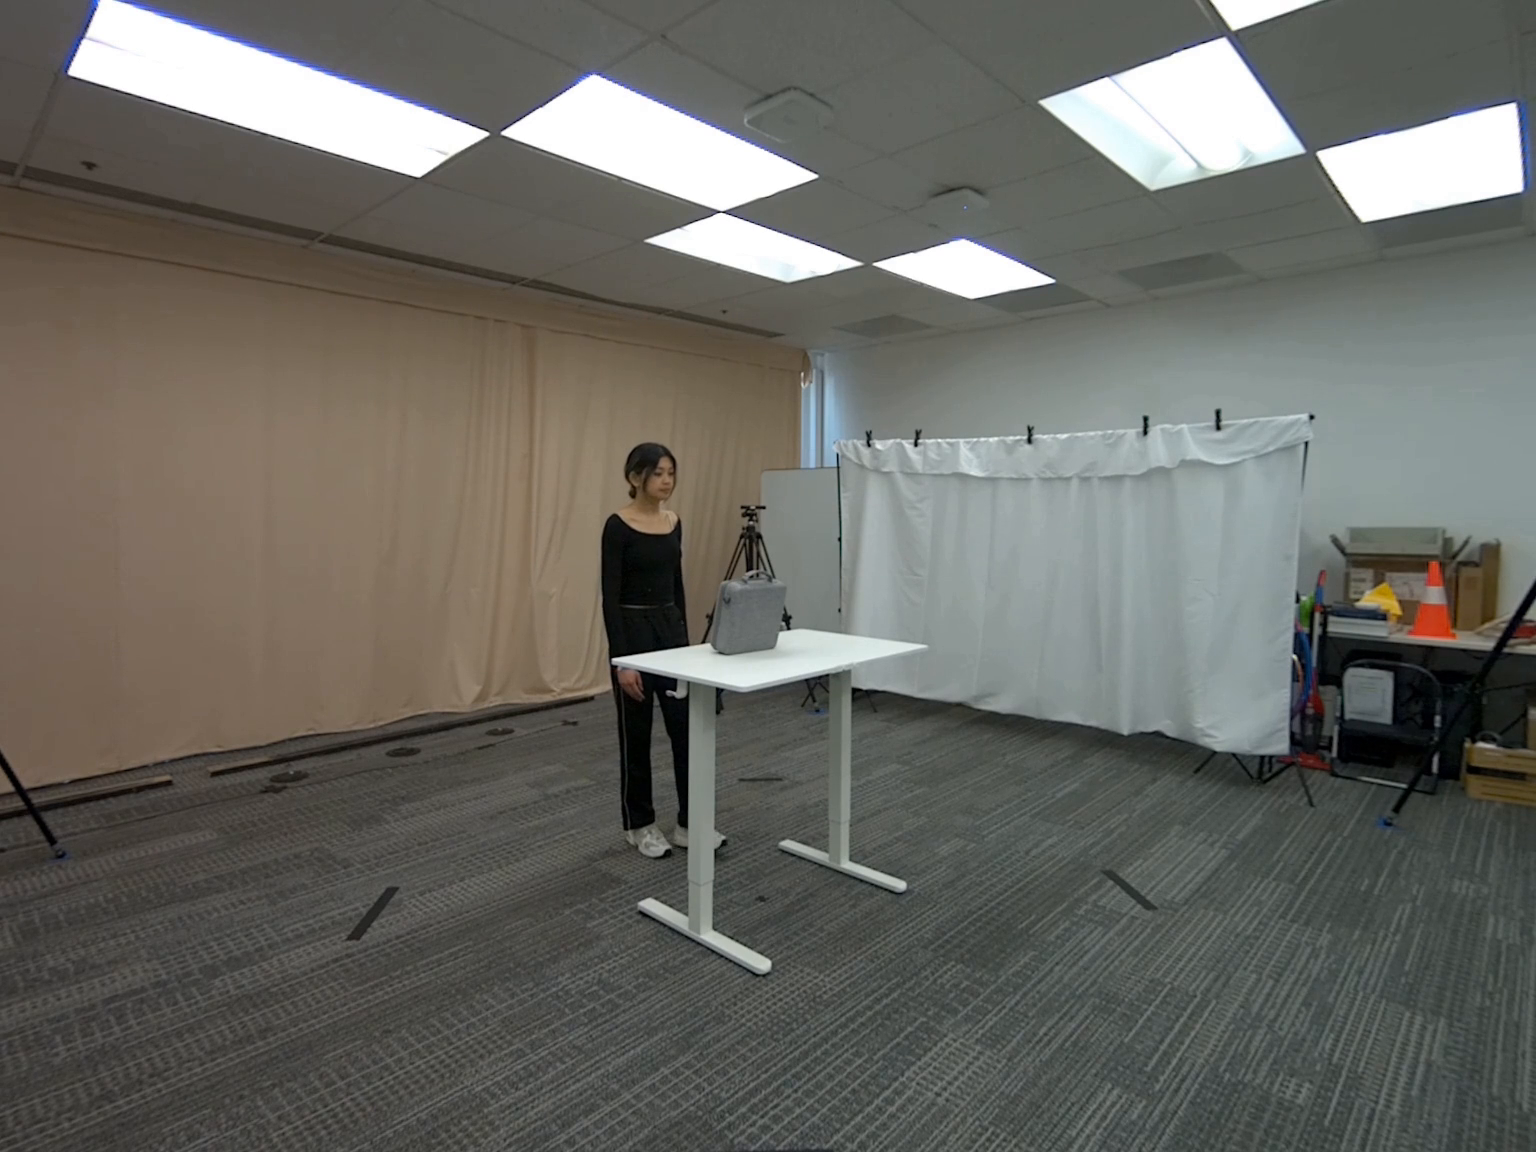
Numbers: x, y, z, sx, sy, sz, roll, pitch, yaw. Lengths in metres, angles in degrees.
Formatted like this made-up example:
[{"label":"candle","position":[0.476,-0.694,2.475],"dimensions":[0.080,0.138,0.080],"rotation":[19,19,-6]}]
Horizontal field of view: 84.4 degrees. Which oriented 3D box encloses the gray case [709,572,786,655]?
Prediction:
[{"label":"gray case","position":[-0.064,0.135,2.931],"dimensions":[0.249,0.259,0.108],"rotation":[-3,18,-40]}]
